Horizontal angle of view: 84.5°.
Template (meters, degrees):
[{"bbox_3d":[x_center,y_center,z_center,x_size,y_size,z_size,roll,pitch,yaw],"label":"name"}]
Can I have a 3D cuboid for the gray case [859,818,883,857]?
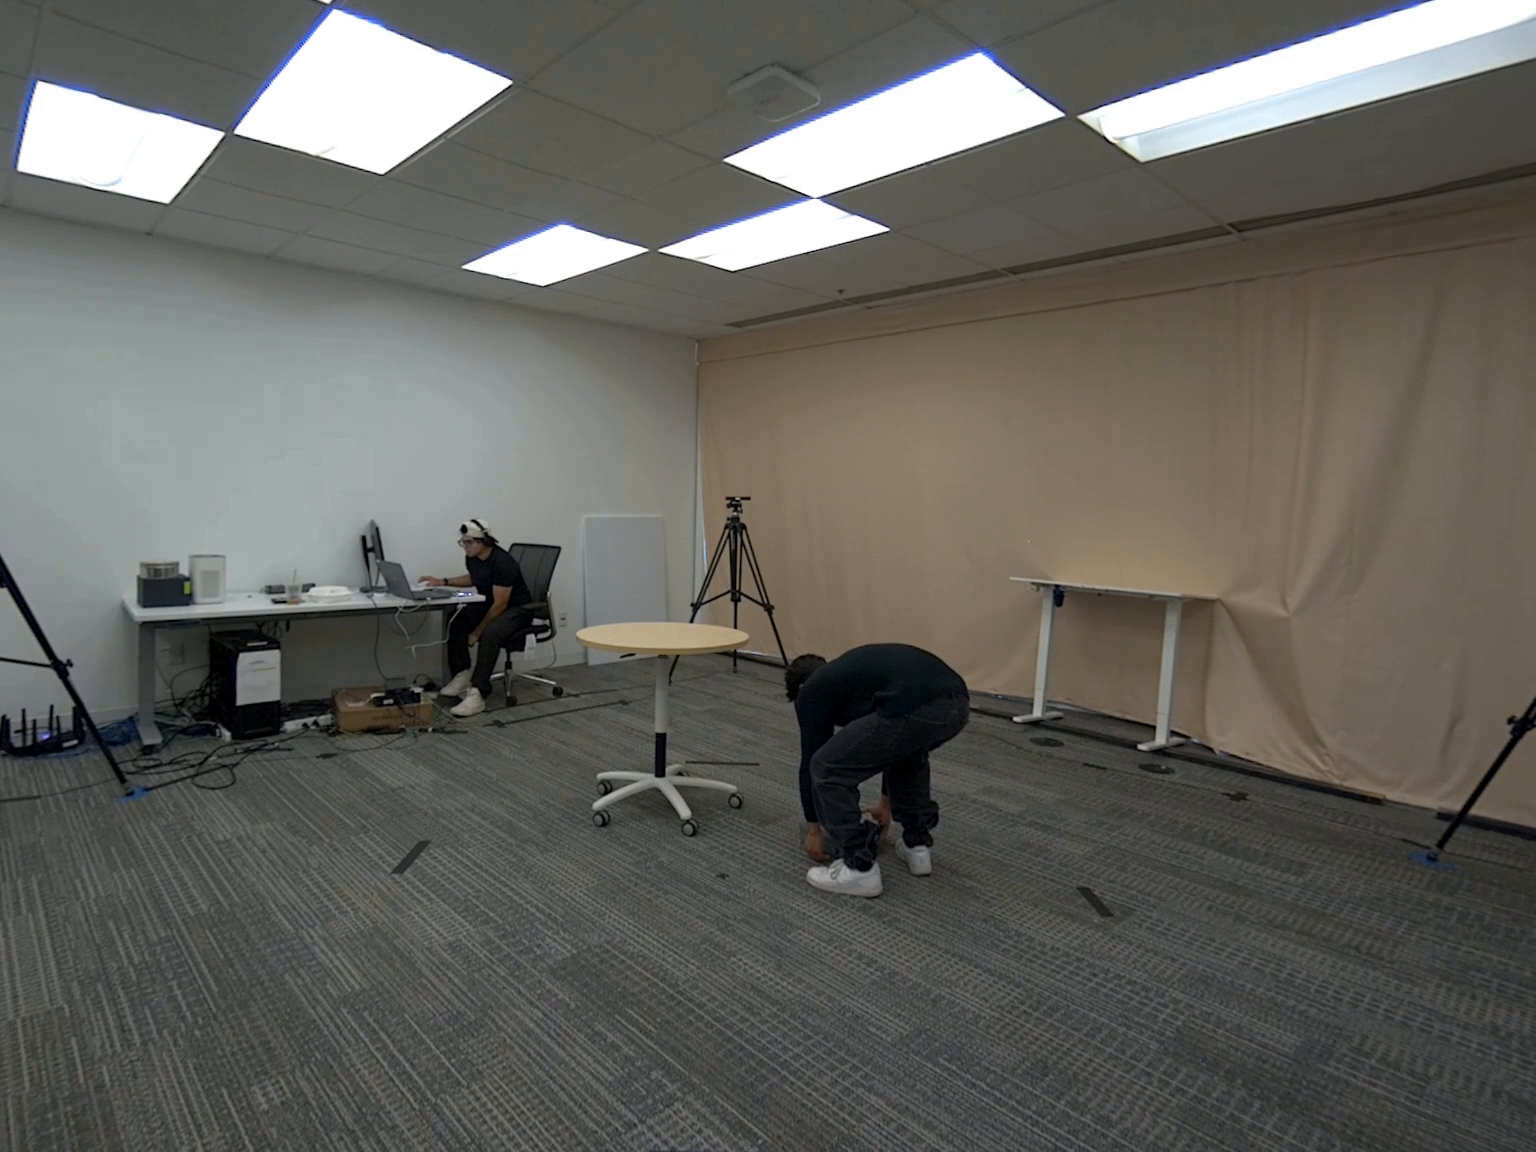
[{"bbox_3d":[0.298,1.033,3.408,0.267,0.104,0.251,7,5,44],"label":"gray case"}]
